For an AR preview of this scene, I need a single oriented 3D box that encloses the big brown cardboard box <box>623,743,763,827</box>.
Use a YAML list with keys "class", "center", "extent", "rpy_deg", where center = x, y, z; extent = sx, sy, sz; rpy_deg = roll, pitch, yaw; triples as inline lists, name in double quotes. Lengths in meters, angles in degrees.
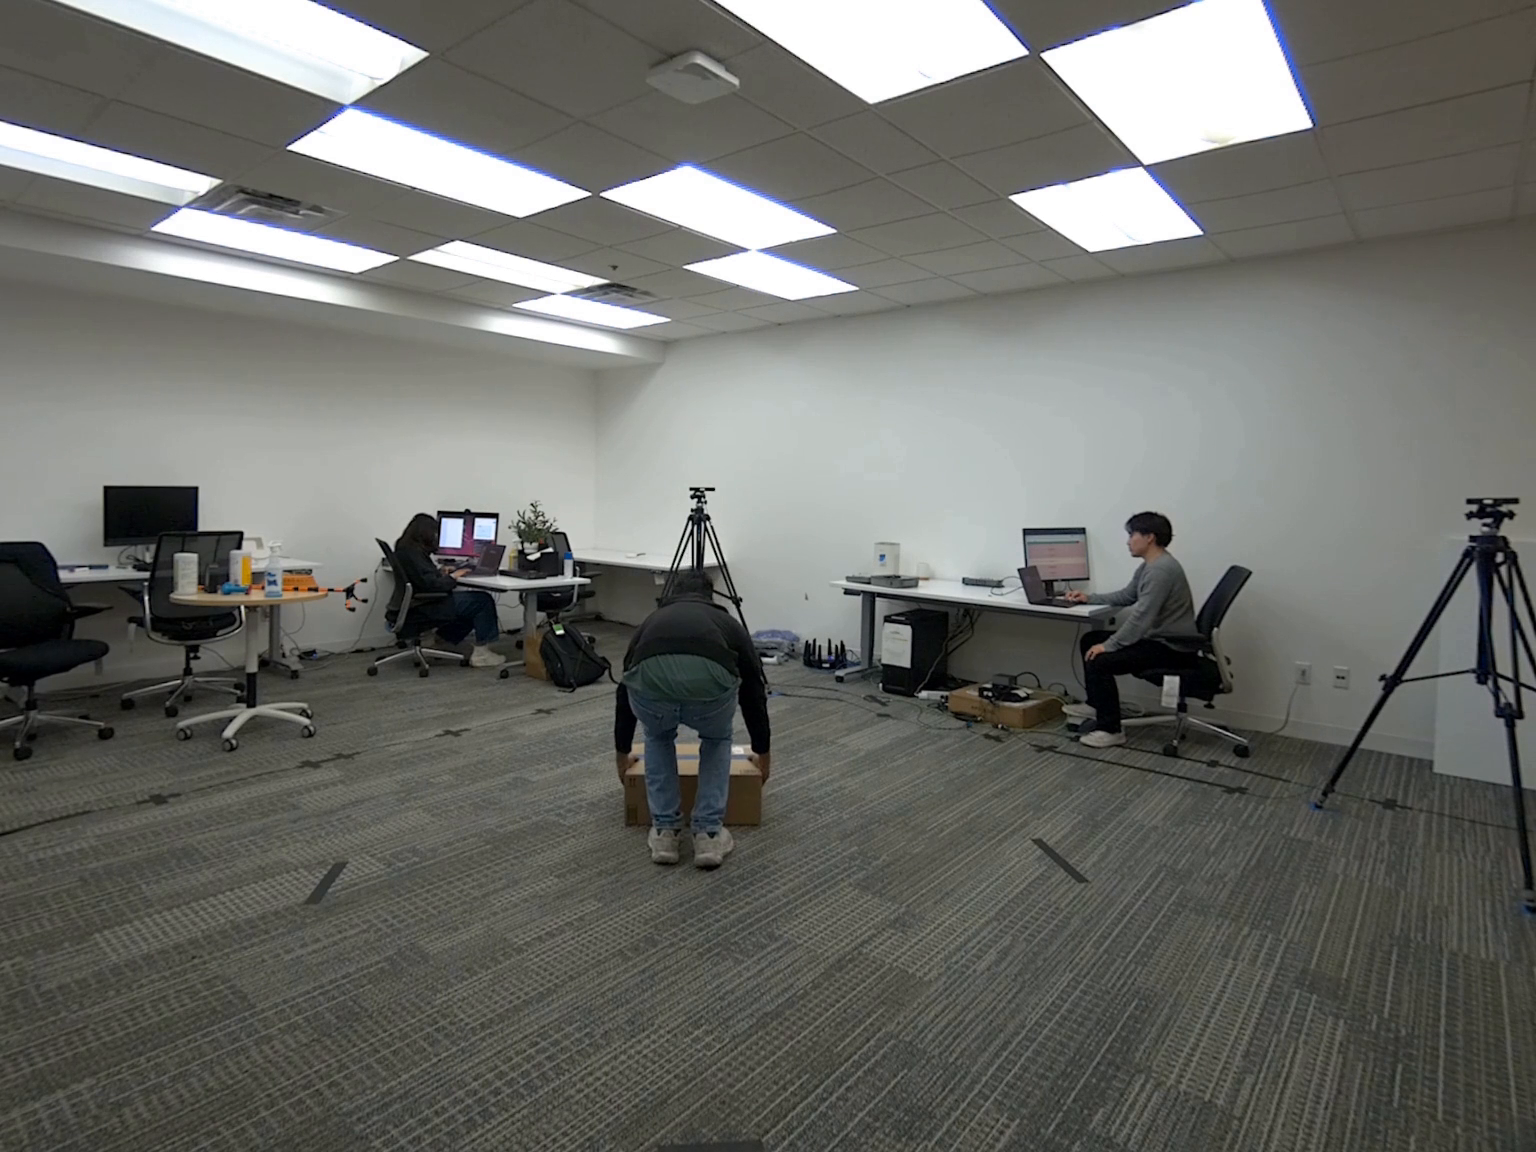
- class: "big brown cardboard box"
  center: [-0.329, 0.888, 3.703]
  extent: [0.587, 0.232, 0.421]
  rpy_deg: [-1, 6, -3]
